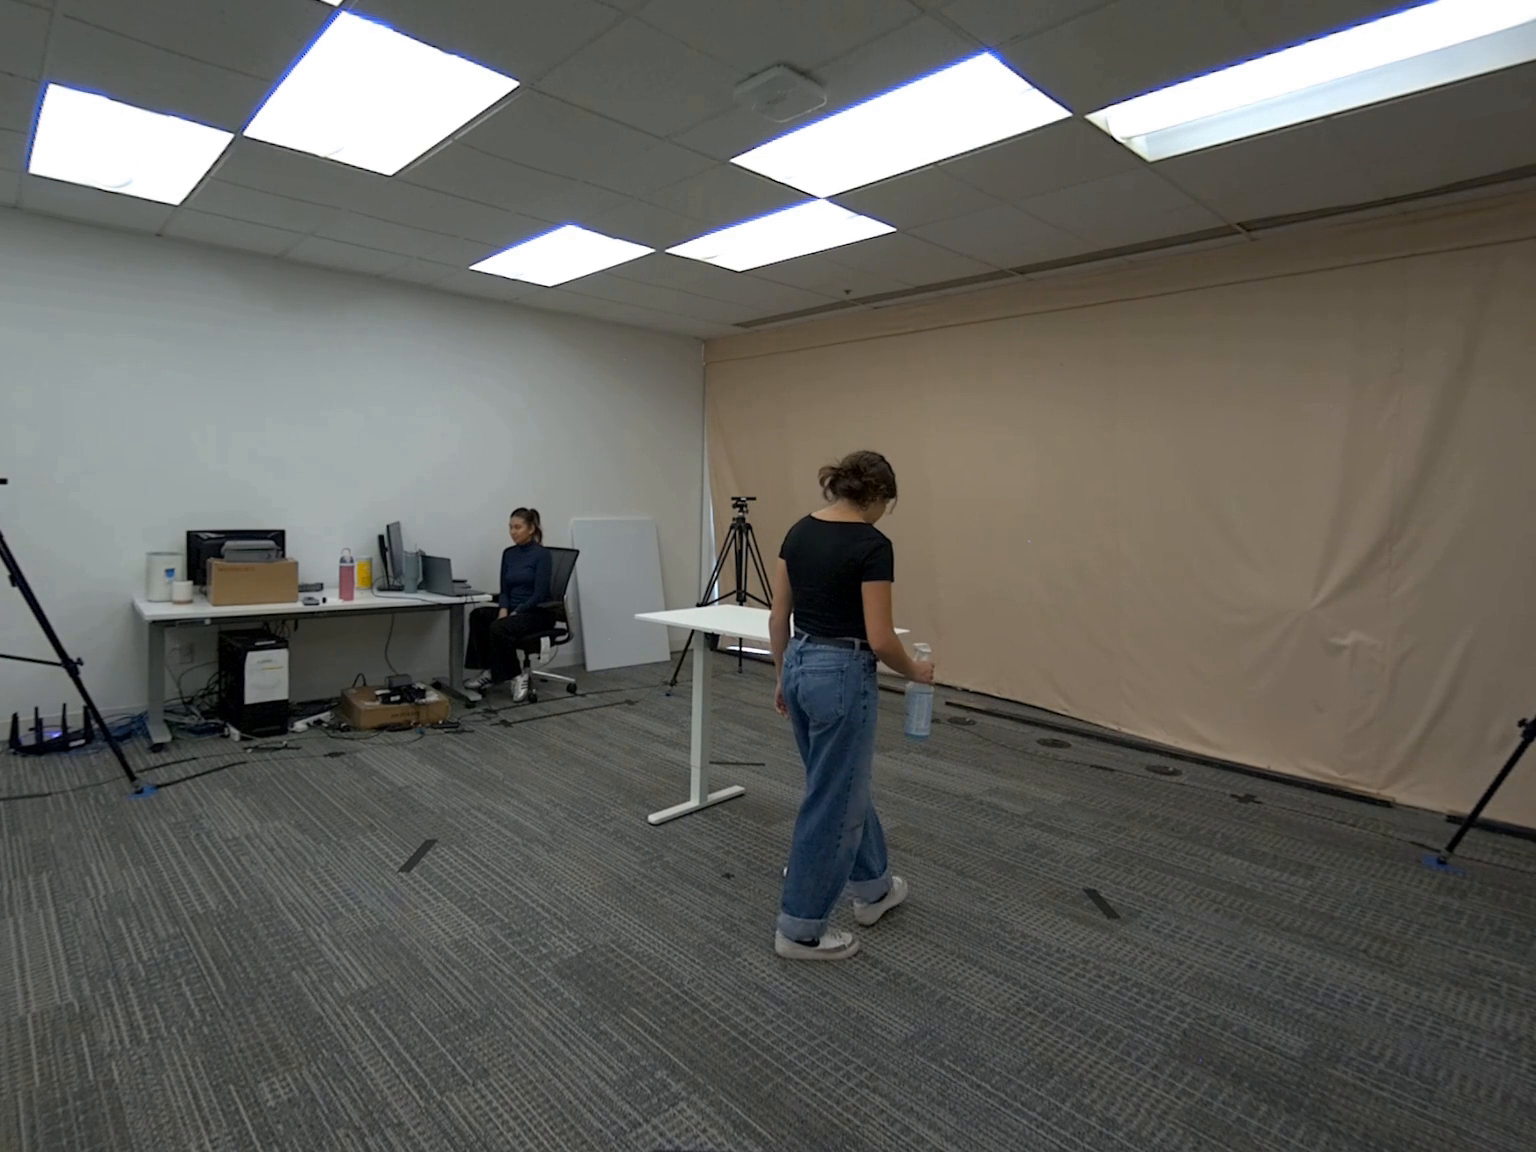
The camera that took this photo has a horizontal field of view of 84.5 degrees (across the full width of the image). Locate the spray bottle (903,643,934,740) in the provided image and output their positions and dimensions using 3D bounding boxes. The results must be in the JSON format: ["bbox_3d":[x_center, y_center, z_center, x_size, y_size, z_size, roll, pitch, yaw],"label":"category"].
[{"bbox_3d":[0.463,0.359,2.645,0.089,0.297,0.088,3,0,-19],"label":"spray bottle"}]
